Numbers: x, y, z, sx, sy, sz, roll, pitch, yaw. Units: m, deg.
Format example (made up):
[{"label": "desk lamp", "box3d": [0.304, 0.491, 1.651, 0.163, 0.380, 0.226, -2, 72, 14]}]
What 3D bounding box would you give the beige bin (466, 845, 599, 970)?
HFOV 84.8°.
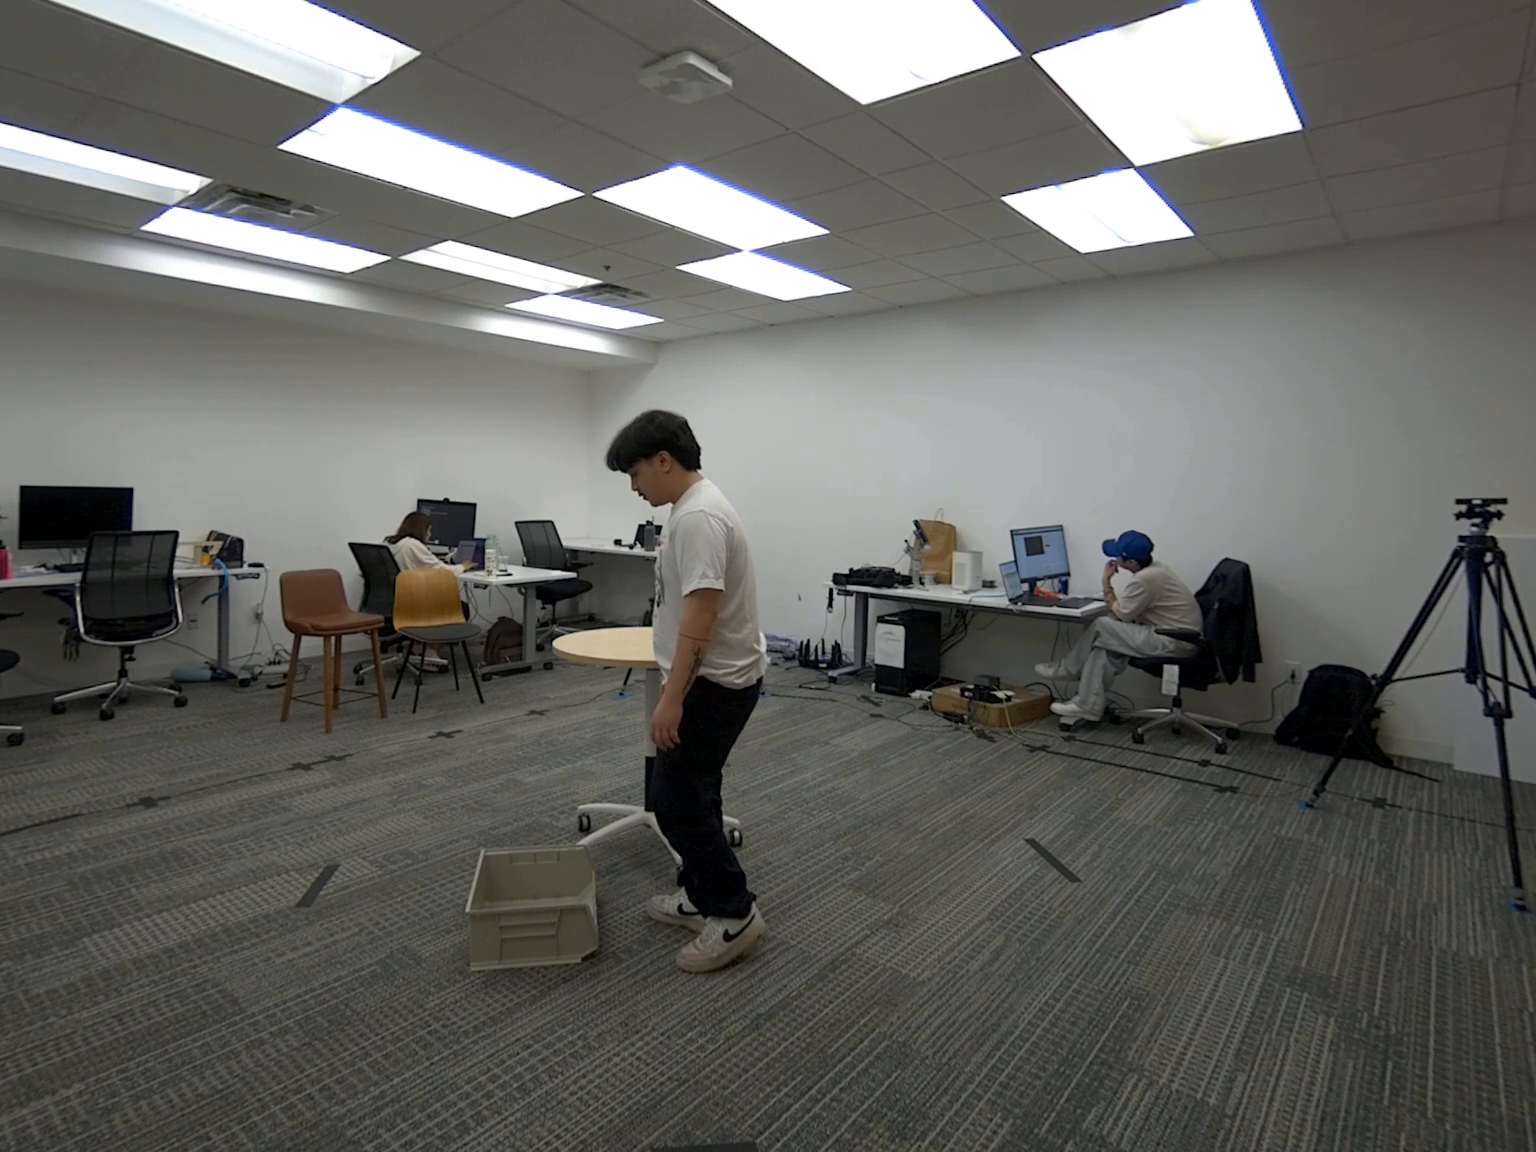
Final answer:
[{"label": "beige bin", "box3d": [-0.738, 1.020, 2.654, 0.373, 0.188, 0.429, -1, 6, -12]}]
